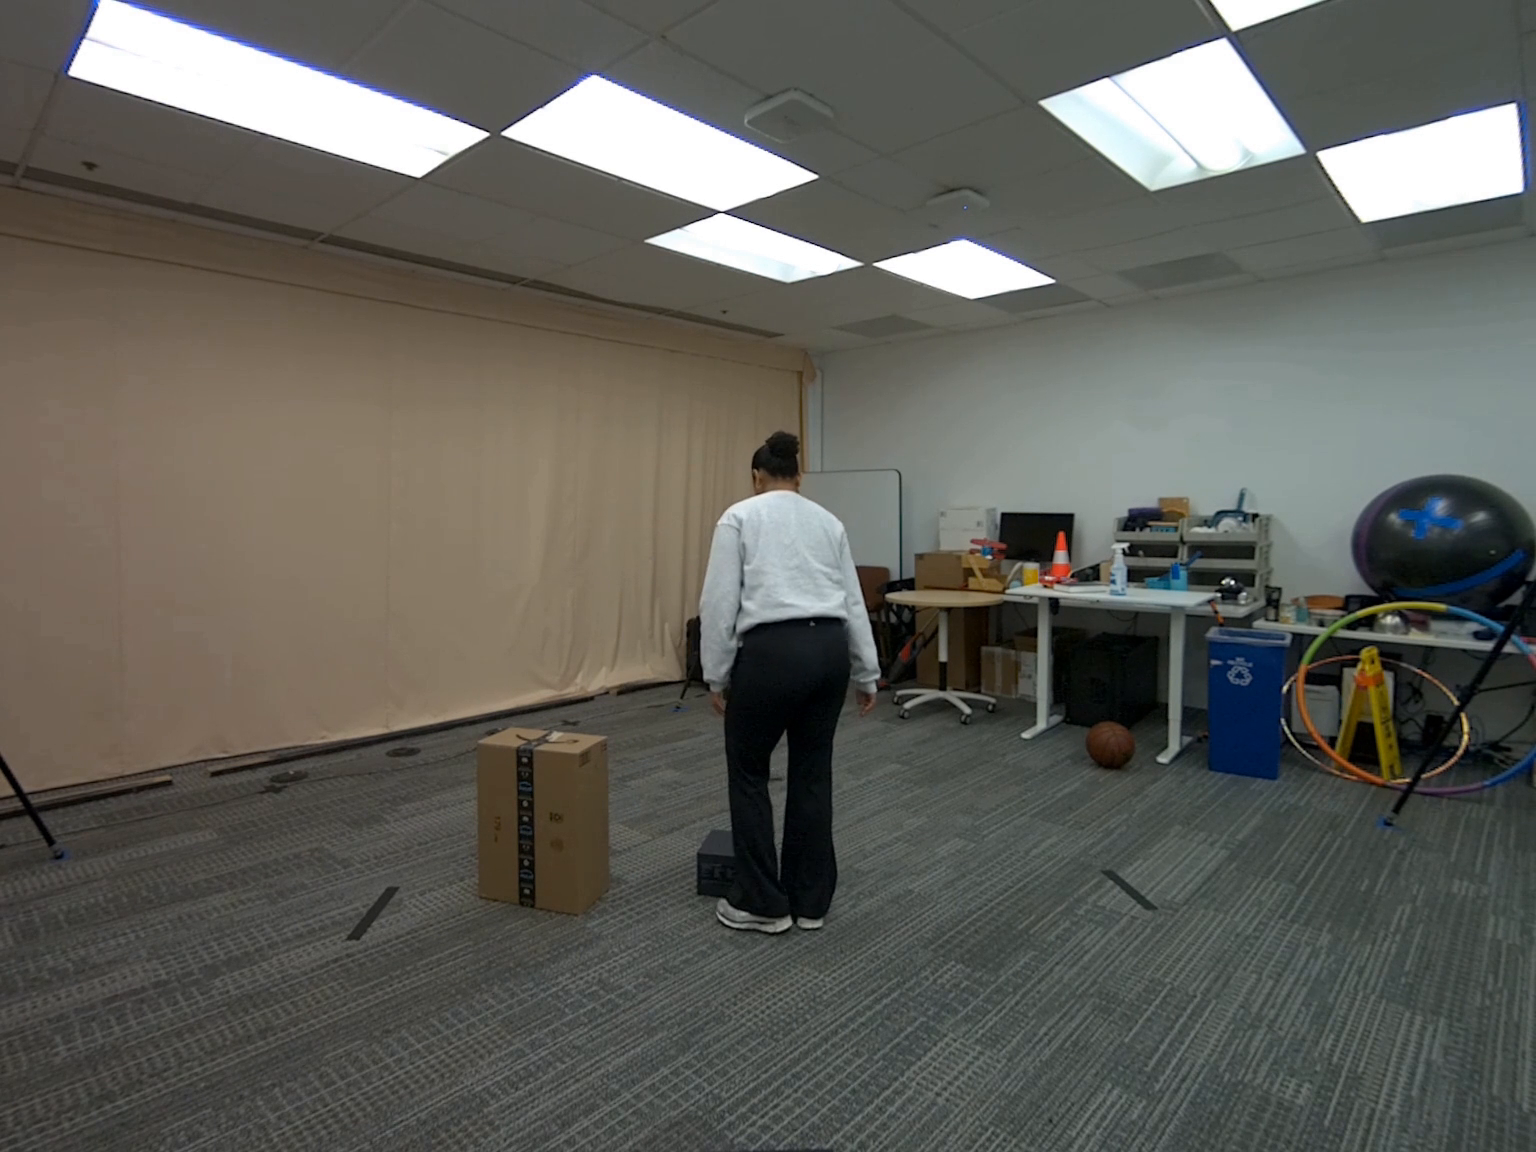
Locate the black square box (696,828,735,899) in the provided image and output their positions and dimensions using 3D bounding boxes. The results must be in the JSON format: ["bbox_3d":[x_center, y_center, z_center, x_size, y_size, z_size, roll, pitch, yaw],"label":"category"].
[{"bbox_3d":[-0.126,1.049,3.083,0.220,0.155,0.225,3,4,11],"label":"black square box"}]
